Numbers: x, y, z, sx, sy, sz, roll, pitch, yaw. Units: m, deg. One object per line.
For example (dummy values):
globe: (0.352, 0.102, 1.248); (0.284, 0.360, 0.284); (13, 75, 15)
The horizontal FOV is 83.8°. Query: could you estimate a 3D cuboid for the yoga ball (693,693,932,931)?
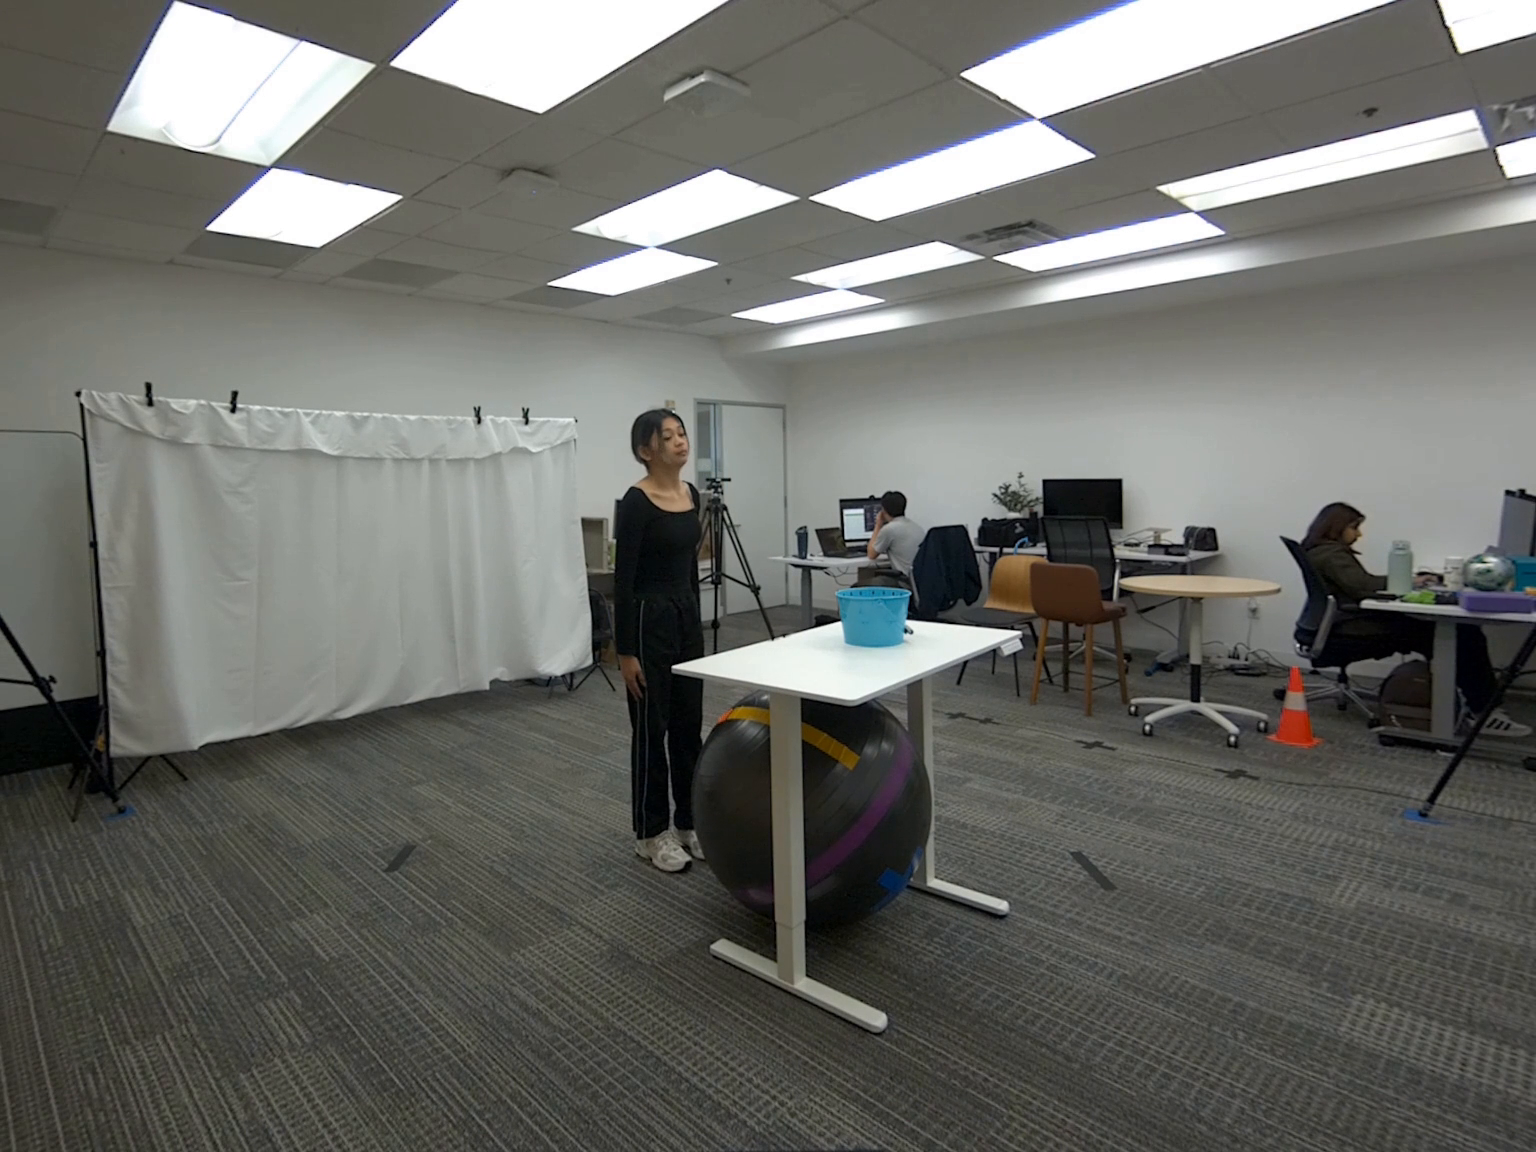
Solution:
yoga ball: (0.139, 0.721, 2.708); (0.757, 0.755, 0.762); (-1, 5, -2)
